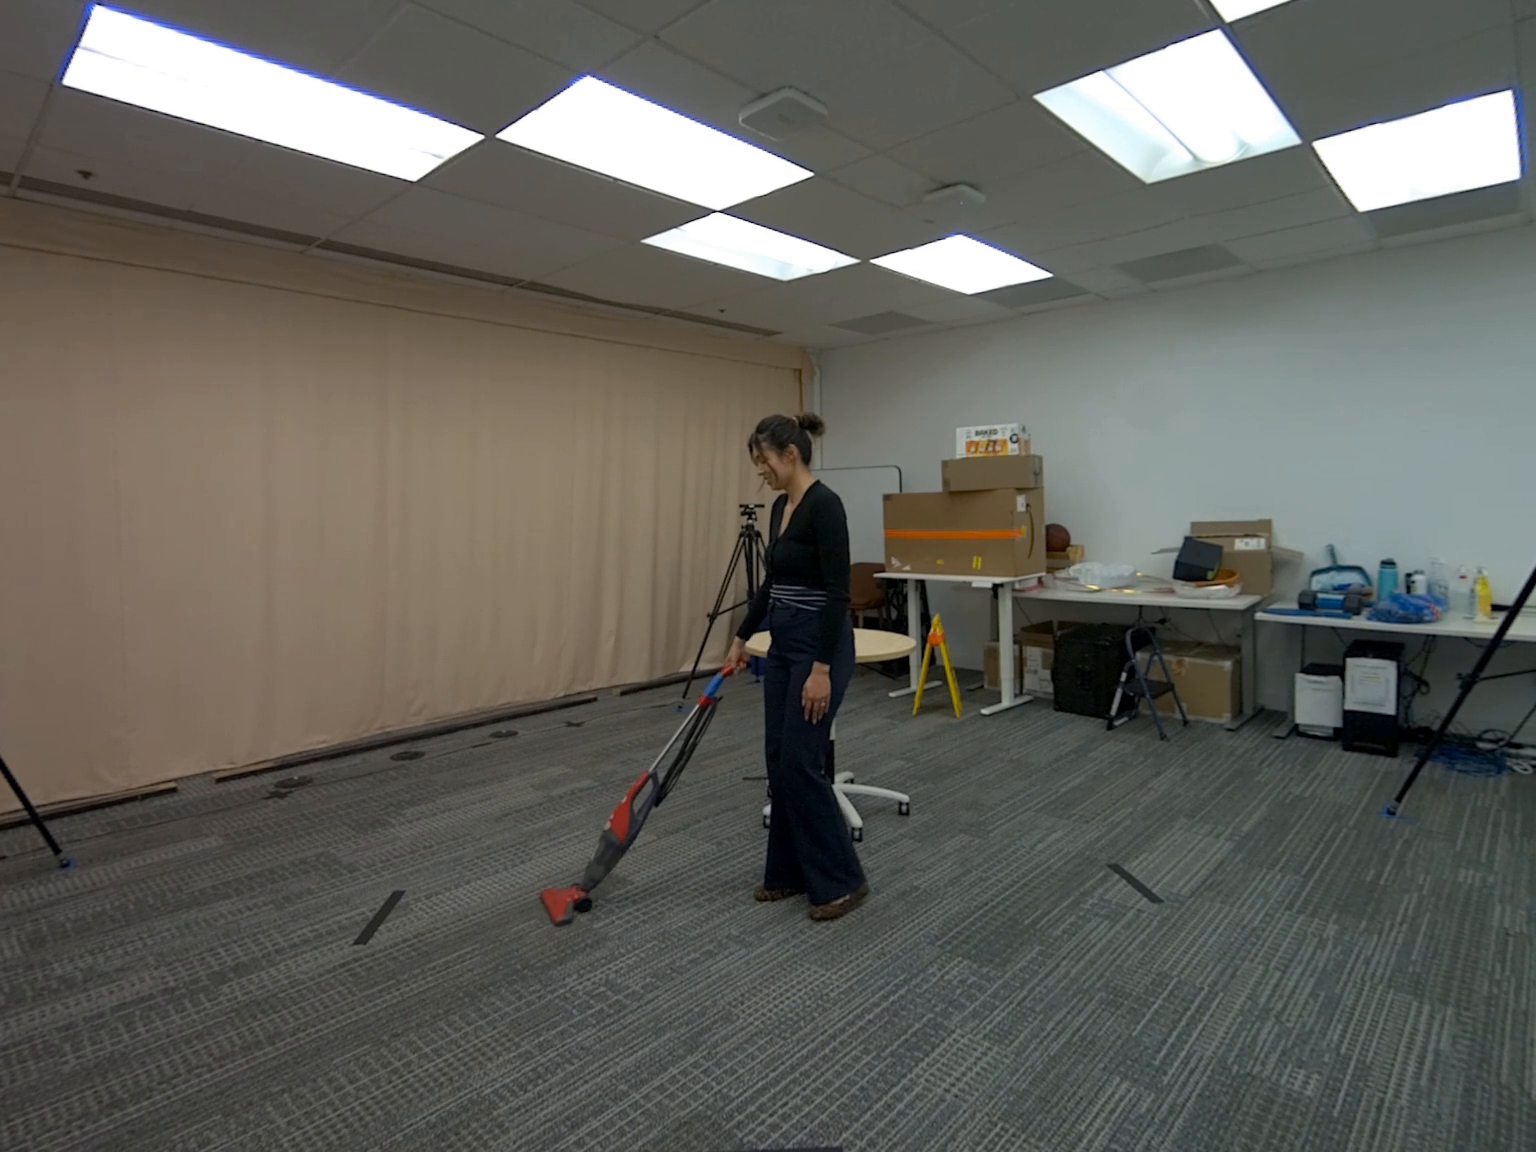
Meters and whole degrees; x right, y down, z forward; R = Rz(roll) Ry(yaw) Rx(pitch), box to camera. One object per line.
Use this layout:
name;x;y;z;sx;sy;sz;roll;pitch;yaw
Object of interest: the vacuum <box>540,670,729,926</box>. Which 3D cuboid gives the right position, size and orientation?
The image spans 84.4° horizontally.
vacuum;-0.401;0.741;3.062;0.141;1.047;0.259;42;-14;-20
